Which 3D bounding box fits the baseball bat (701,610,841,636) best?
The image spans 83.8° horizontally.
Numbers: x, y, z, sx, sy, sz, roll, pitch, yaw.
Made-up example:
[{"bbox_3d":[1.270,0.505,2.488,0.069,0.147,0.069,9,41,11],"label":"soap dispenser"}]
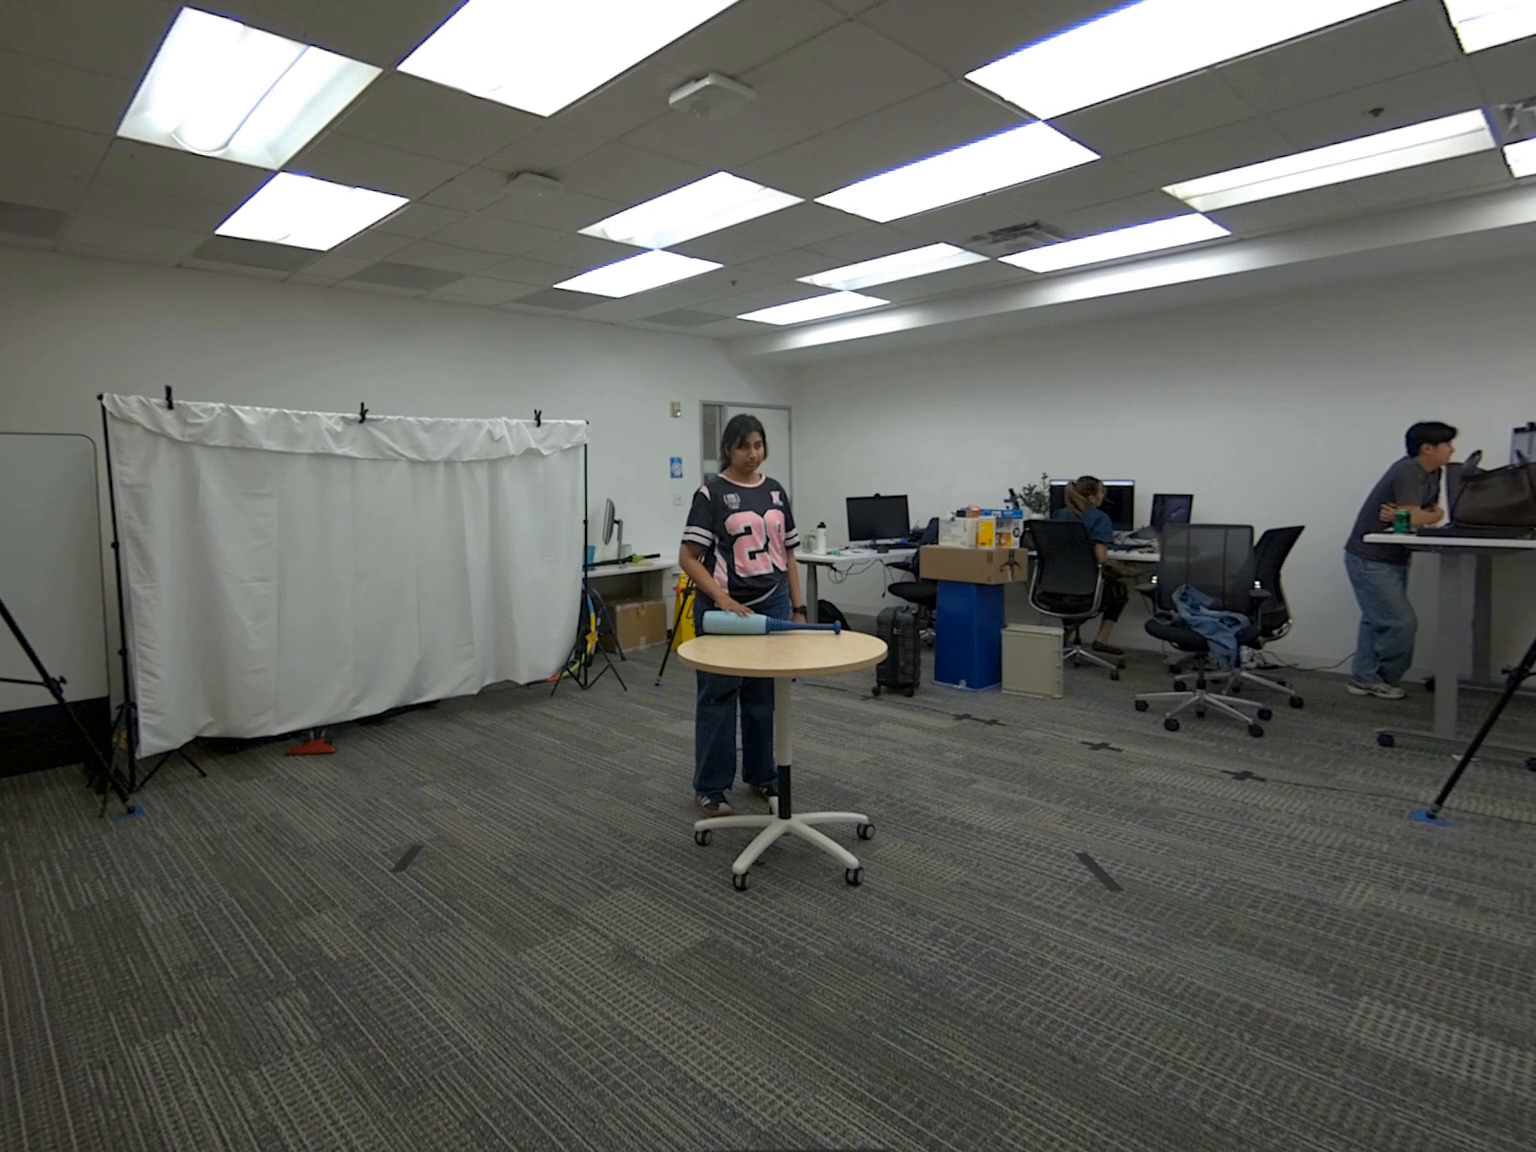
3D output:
[{"bbox_3d":[0.007,0.199,3.375,0.546,0.089,0.089,2,5,6],"label":"baseball bat"}]
